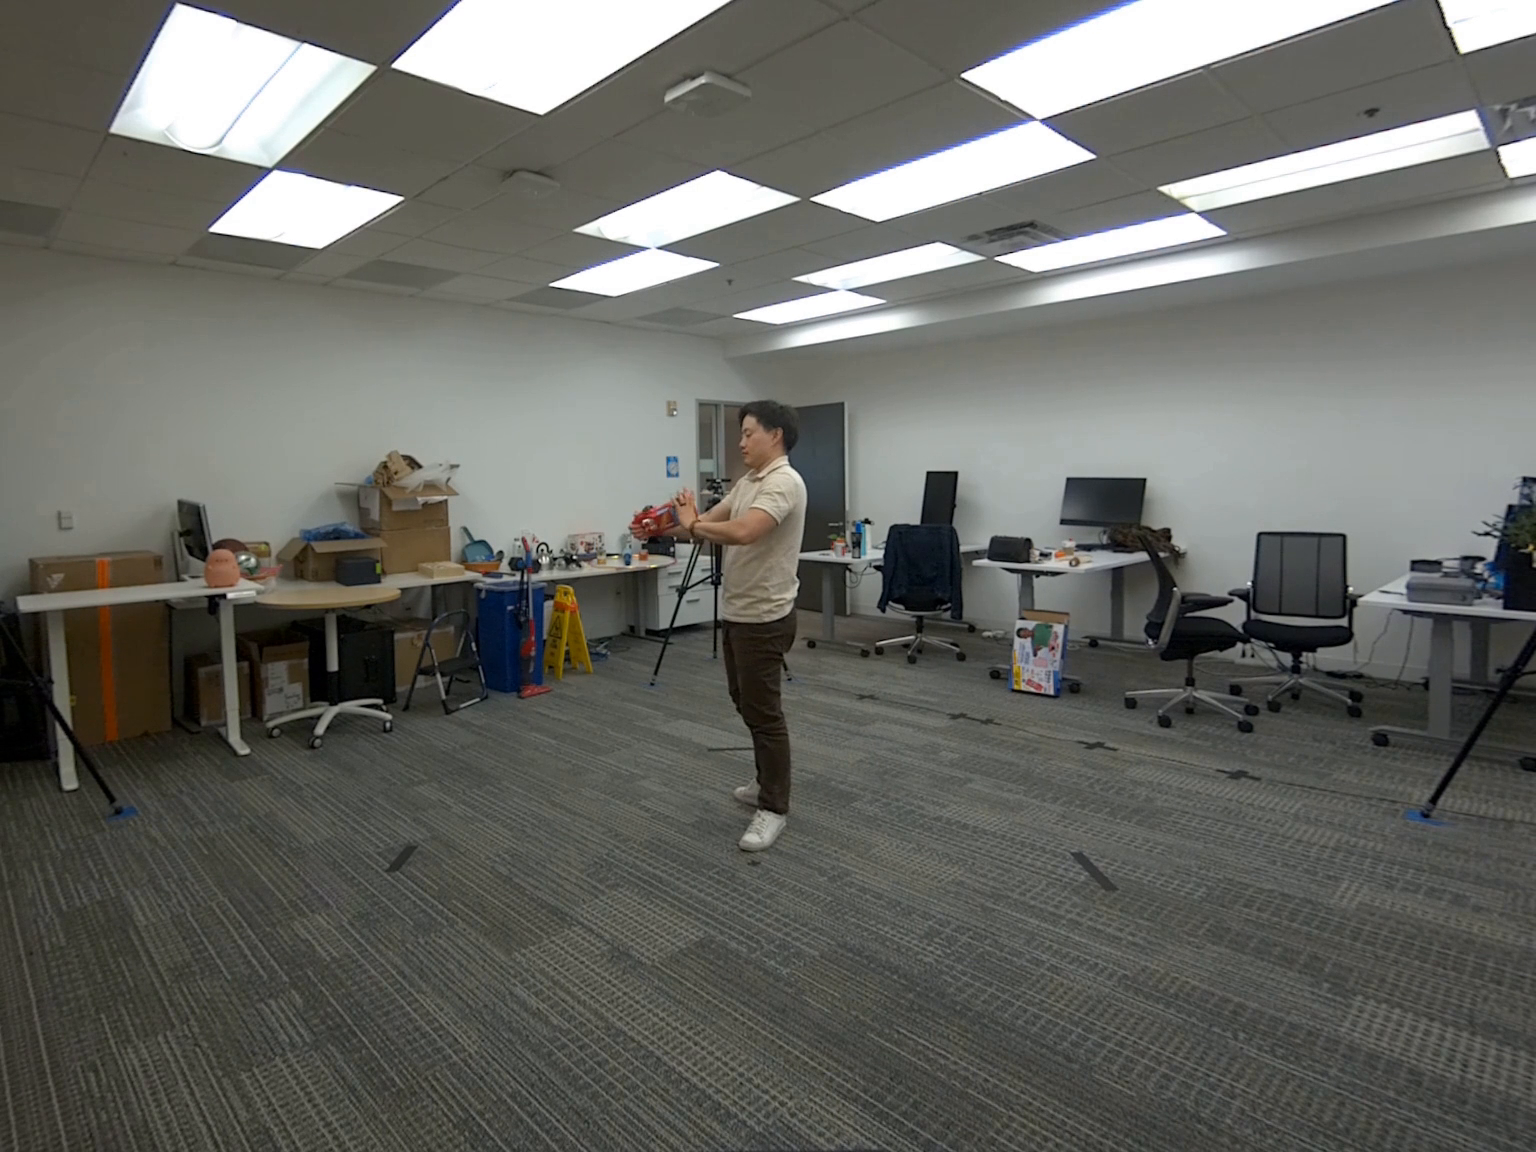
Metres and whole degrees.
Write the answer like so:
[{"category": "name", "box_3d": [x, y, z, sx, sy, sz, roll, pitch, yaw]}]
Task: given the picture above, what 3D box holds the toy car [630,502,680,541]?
[{"category": "toy car", "box_3d": [-0.397, -0.230, 3.309, 0.255, 0.127, 0.085, -23, 24, 7]}]
